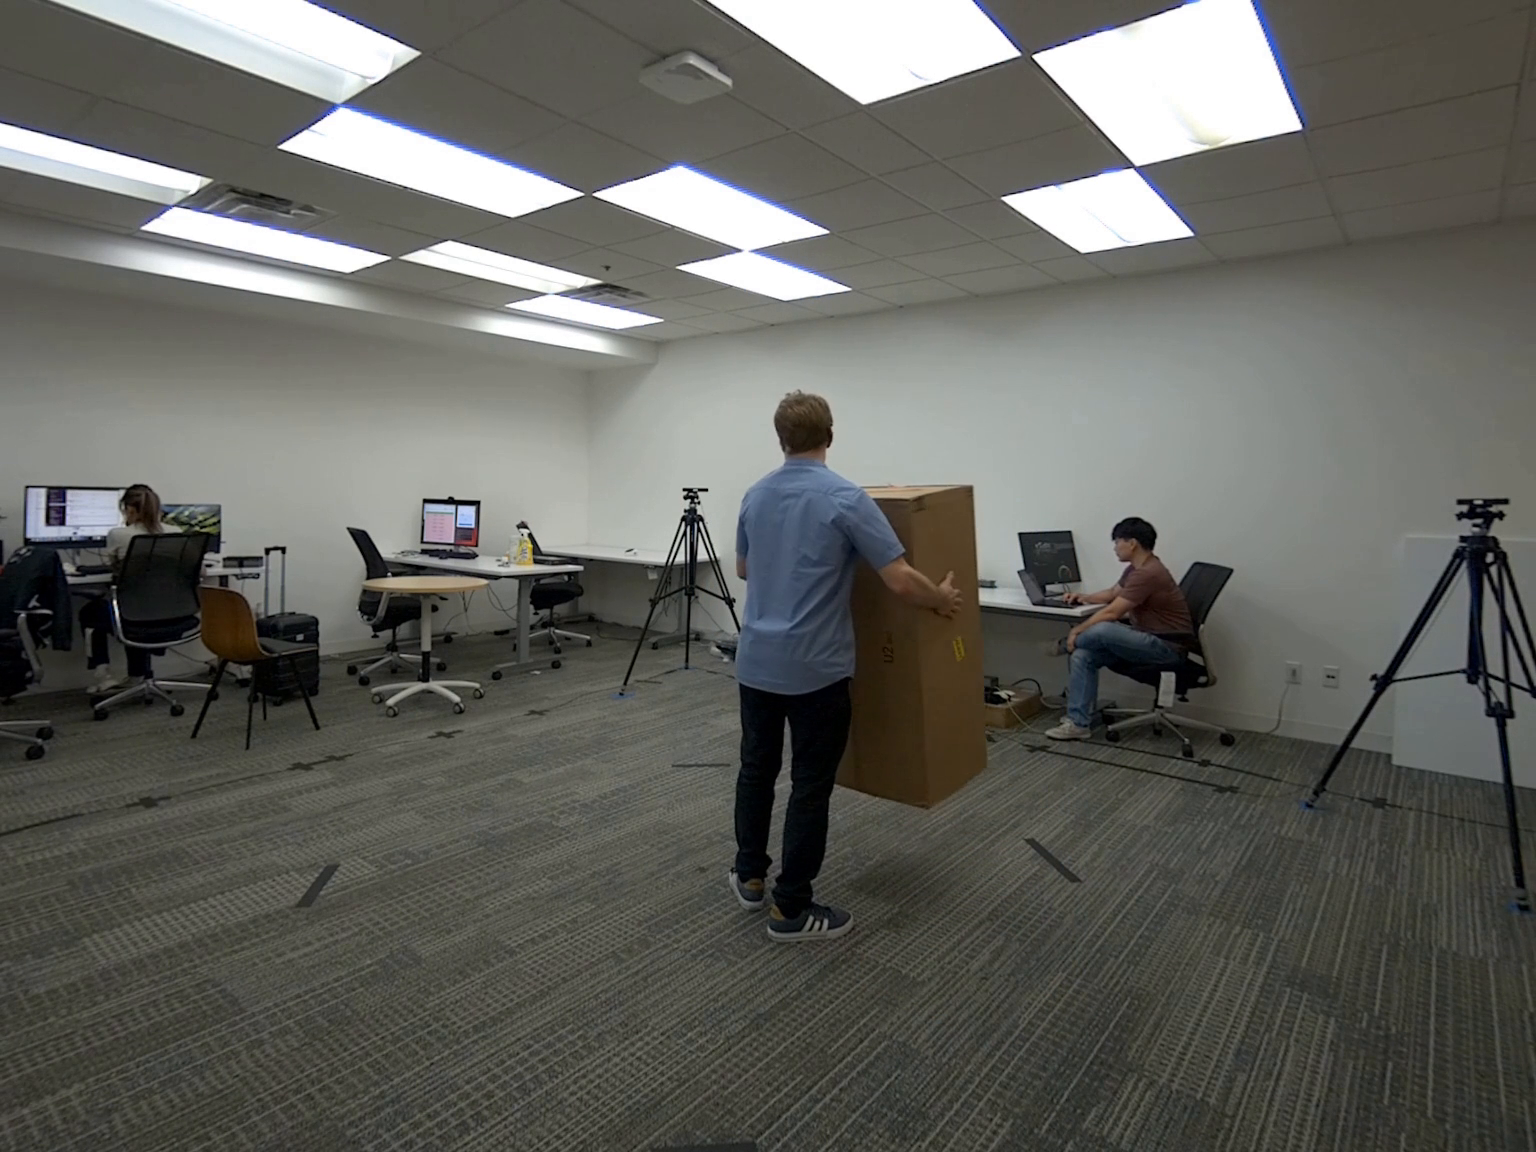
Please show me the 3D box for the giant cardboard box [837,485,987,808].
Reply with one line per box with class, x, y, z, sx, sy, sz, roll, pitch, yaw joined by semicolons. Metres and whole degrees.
giant cardboard box;0.392;0.205;3.048;0.596;1.019;0.415;2;9;43
